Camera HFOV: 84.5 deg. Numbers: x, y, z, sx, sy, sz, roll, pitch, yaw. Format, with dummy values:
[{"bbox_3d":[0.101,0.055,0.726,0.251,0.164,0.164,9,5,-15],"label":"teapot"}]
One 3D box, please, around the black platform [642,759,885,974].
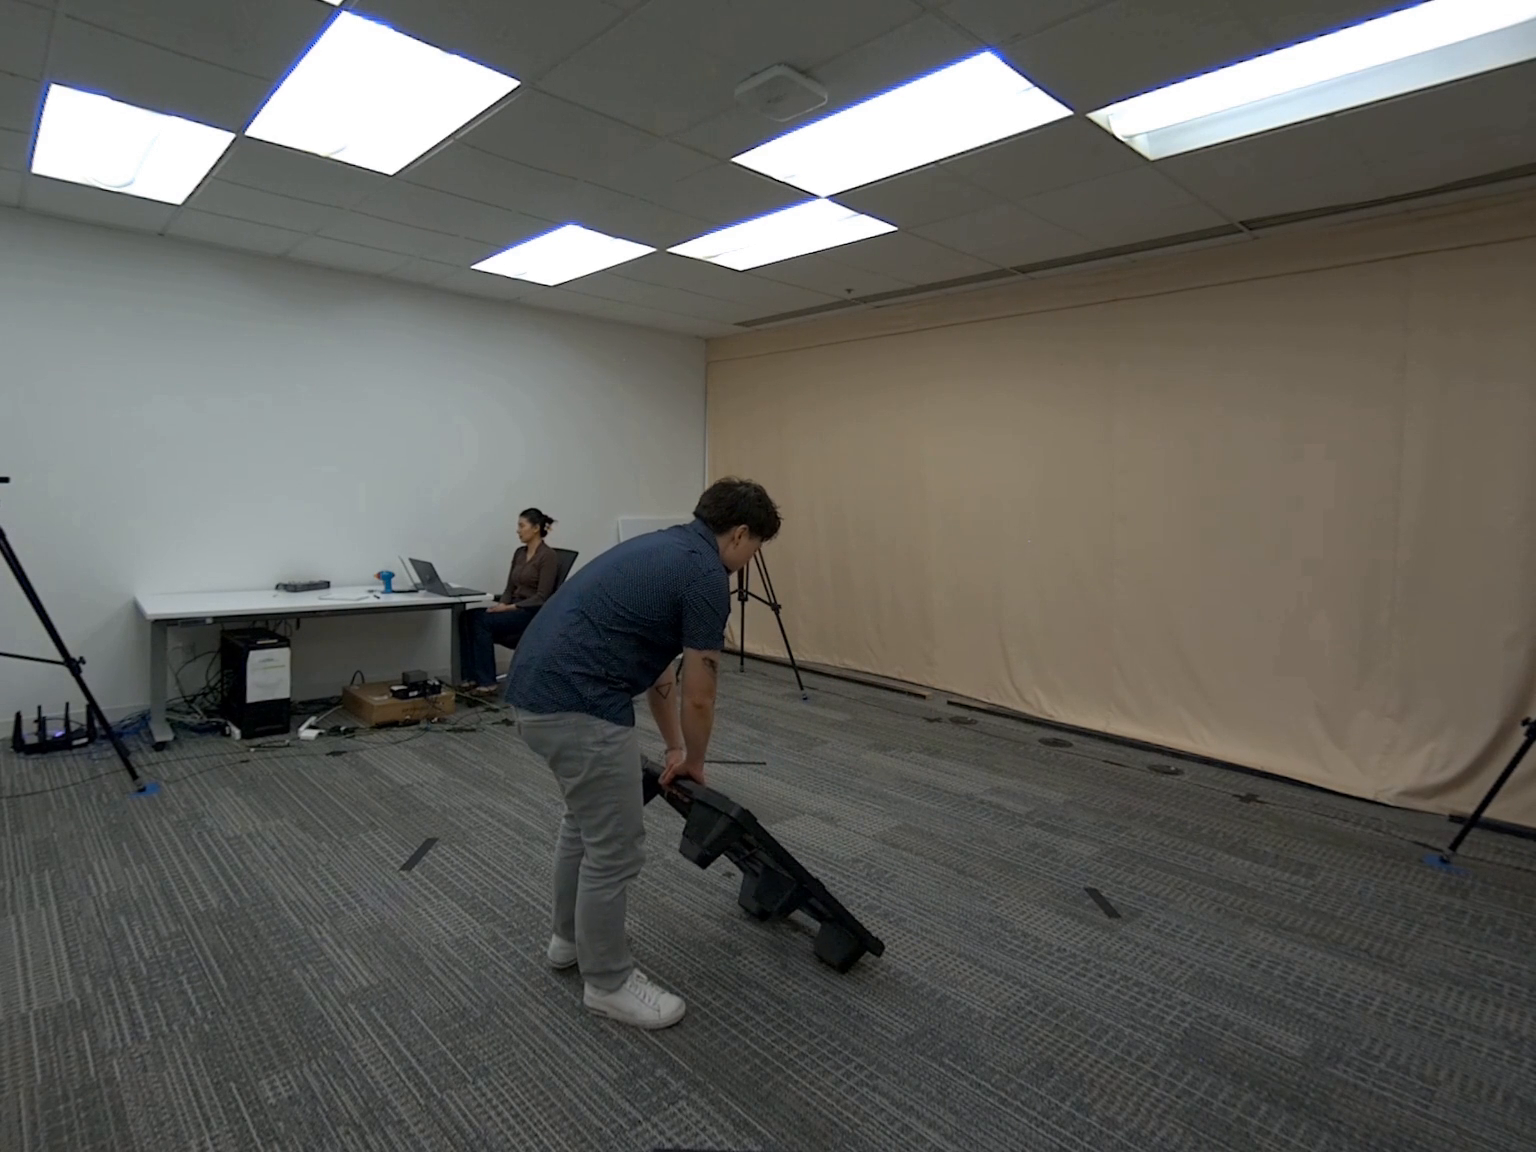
[{"bbox_3d":[-0.090,0.854,2.509,0.620,0.143,0.784,7,-38,51],"label":"black platform"}]
